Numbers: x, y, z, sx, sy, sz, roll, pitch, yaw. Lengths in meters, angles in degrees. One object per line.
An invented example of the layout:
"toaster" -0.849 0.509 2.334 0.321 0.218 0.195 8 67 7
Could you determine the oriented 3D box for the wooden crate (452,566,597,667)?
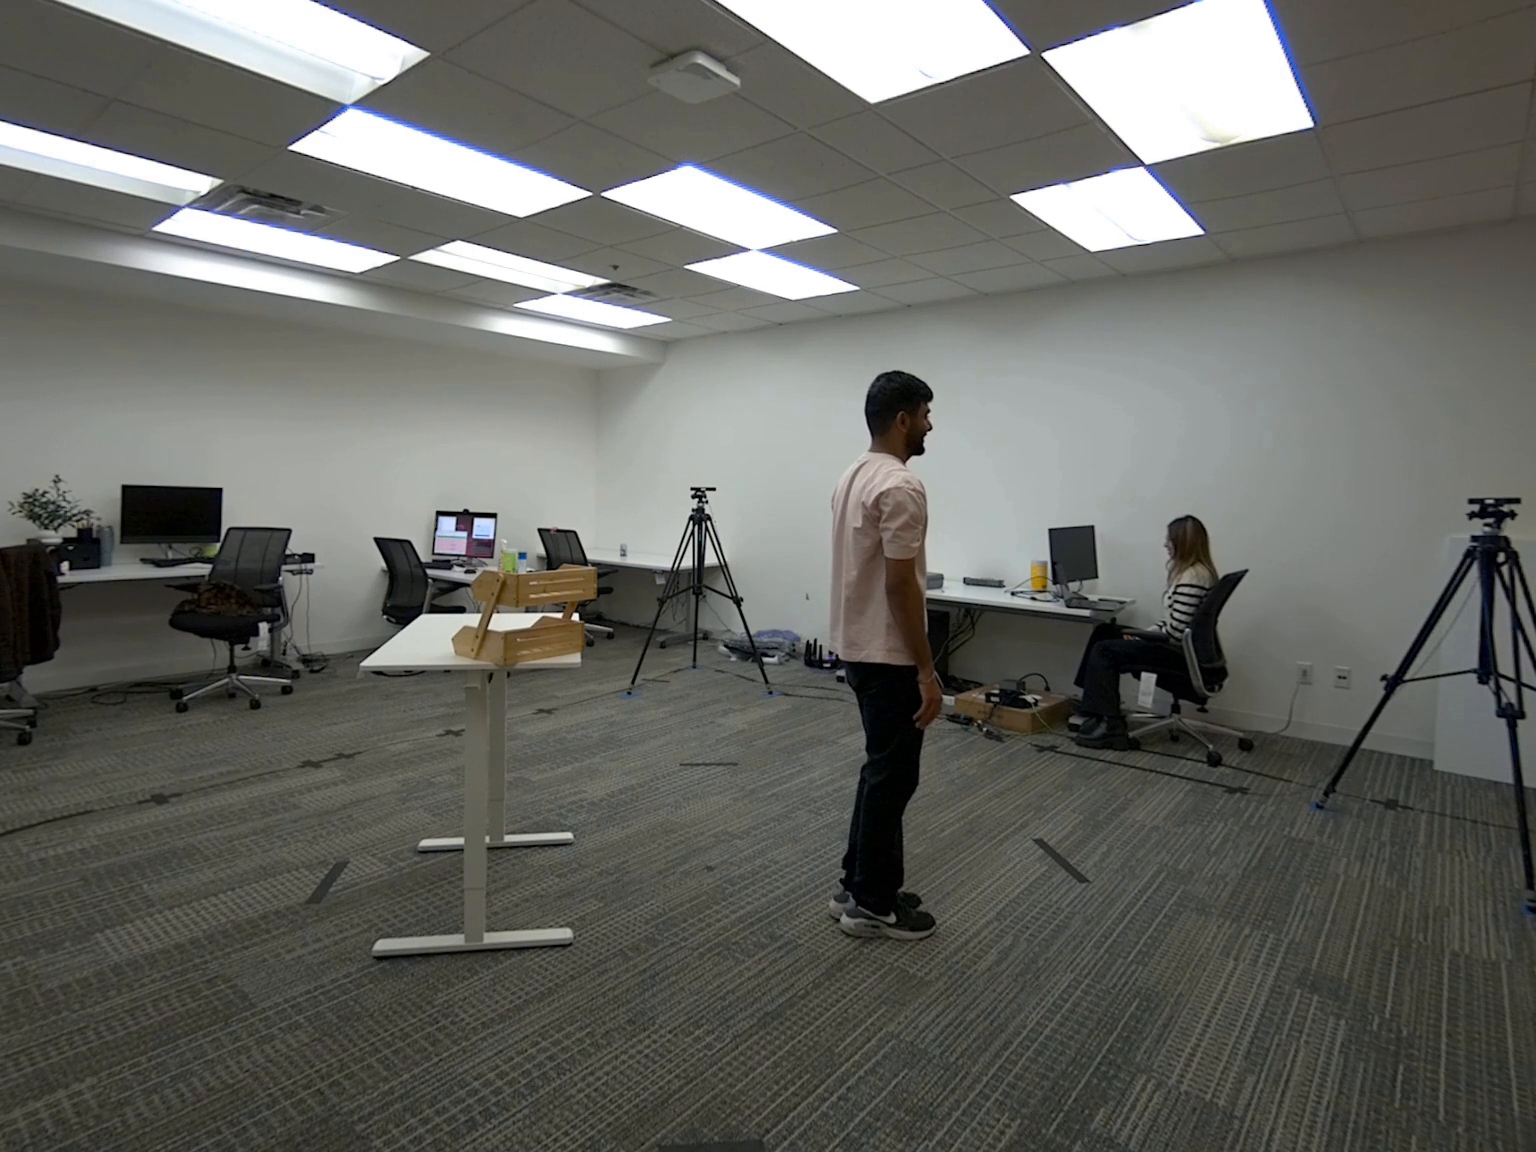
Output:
"wooden crate" -0.734 0.098 2.537 0.312 0.272 0.315 6 6 37
